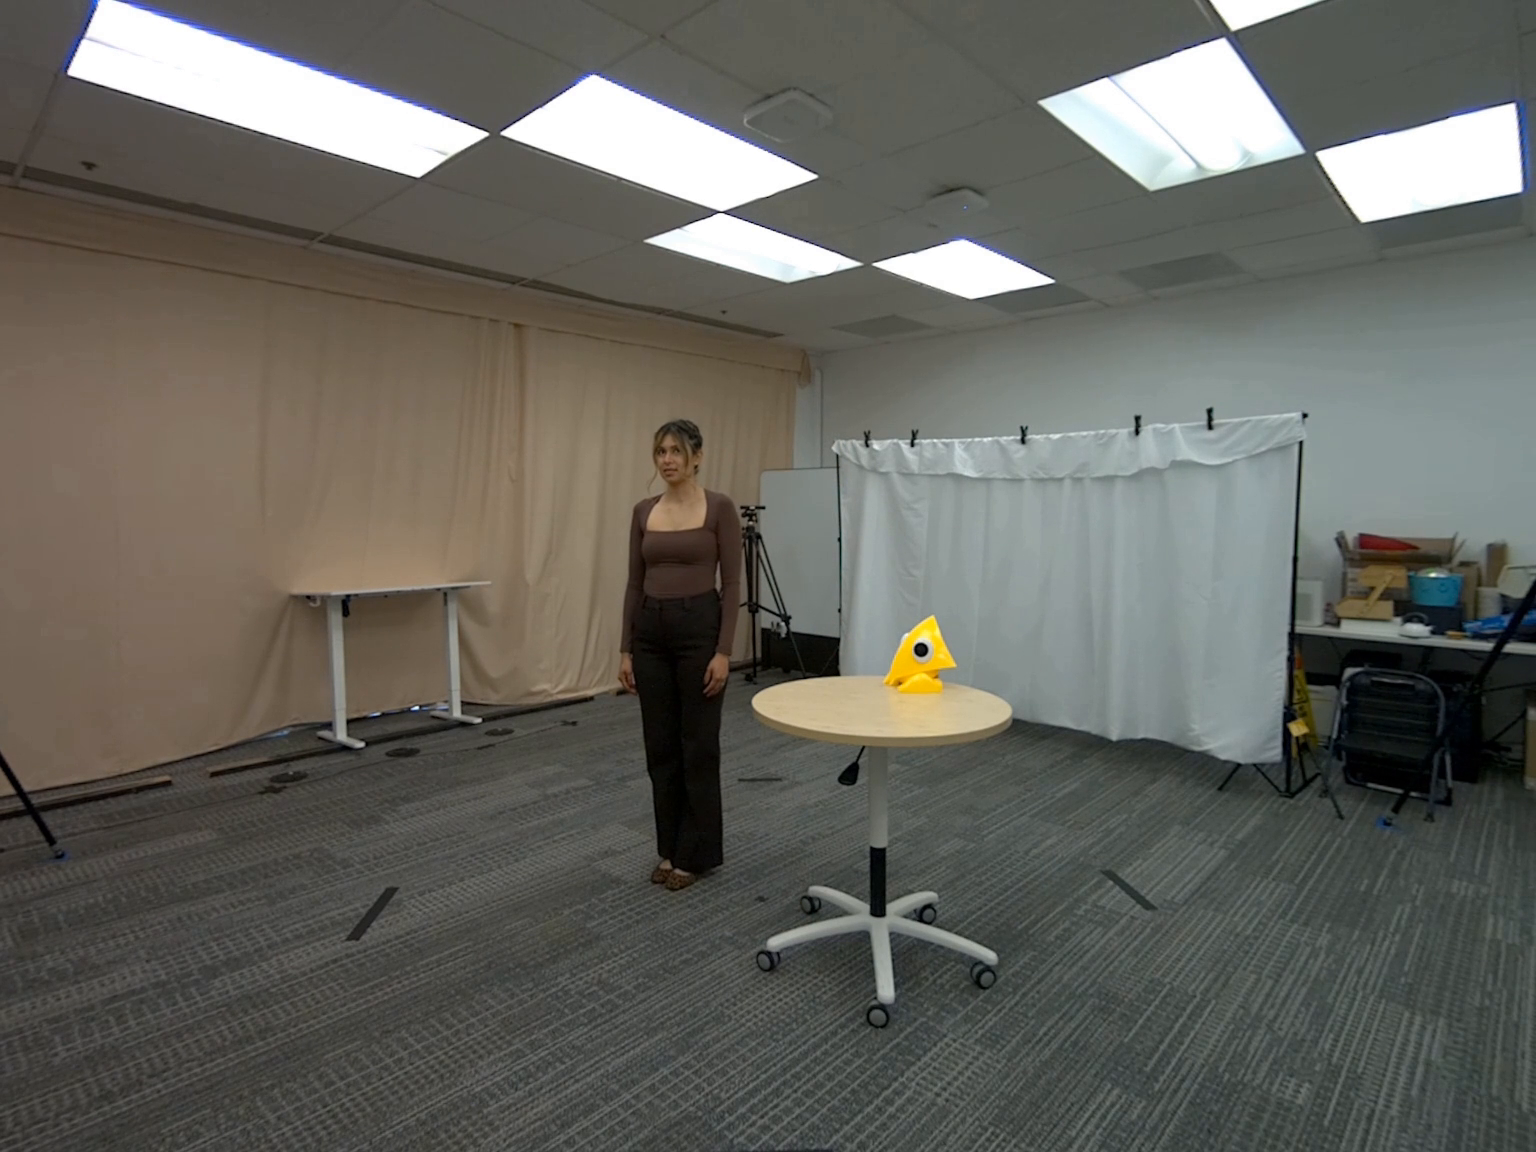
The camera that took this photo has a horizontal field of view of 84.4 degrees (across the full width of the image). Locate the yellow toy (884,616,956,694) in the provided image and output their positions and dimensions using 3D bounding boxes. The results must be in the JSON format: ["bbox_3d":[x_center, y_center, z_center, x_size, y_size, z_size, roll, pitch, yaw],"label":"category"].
[{"bbox_3d":[0.492,0.249,2.752,0.190,0.230,0.208,-1,4,-14],"label":"yellow toy"}]
